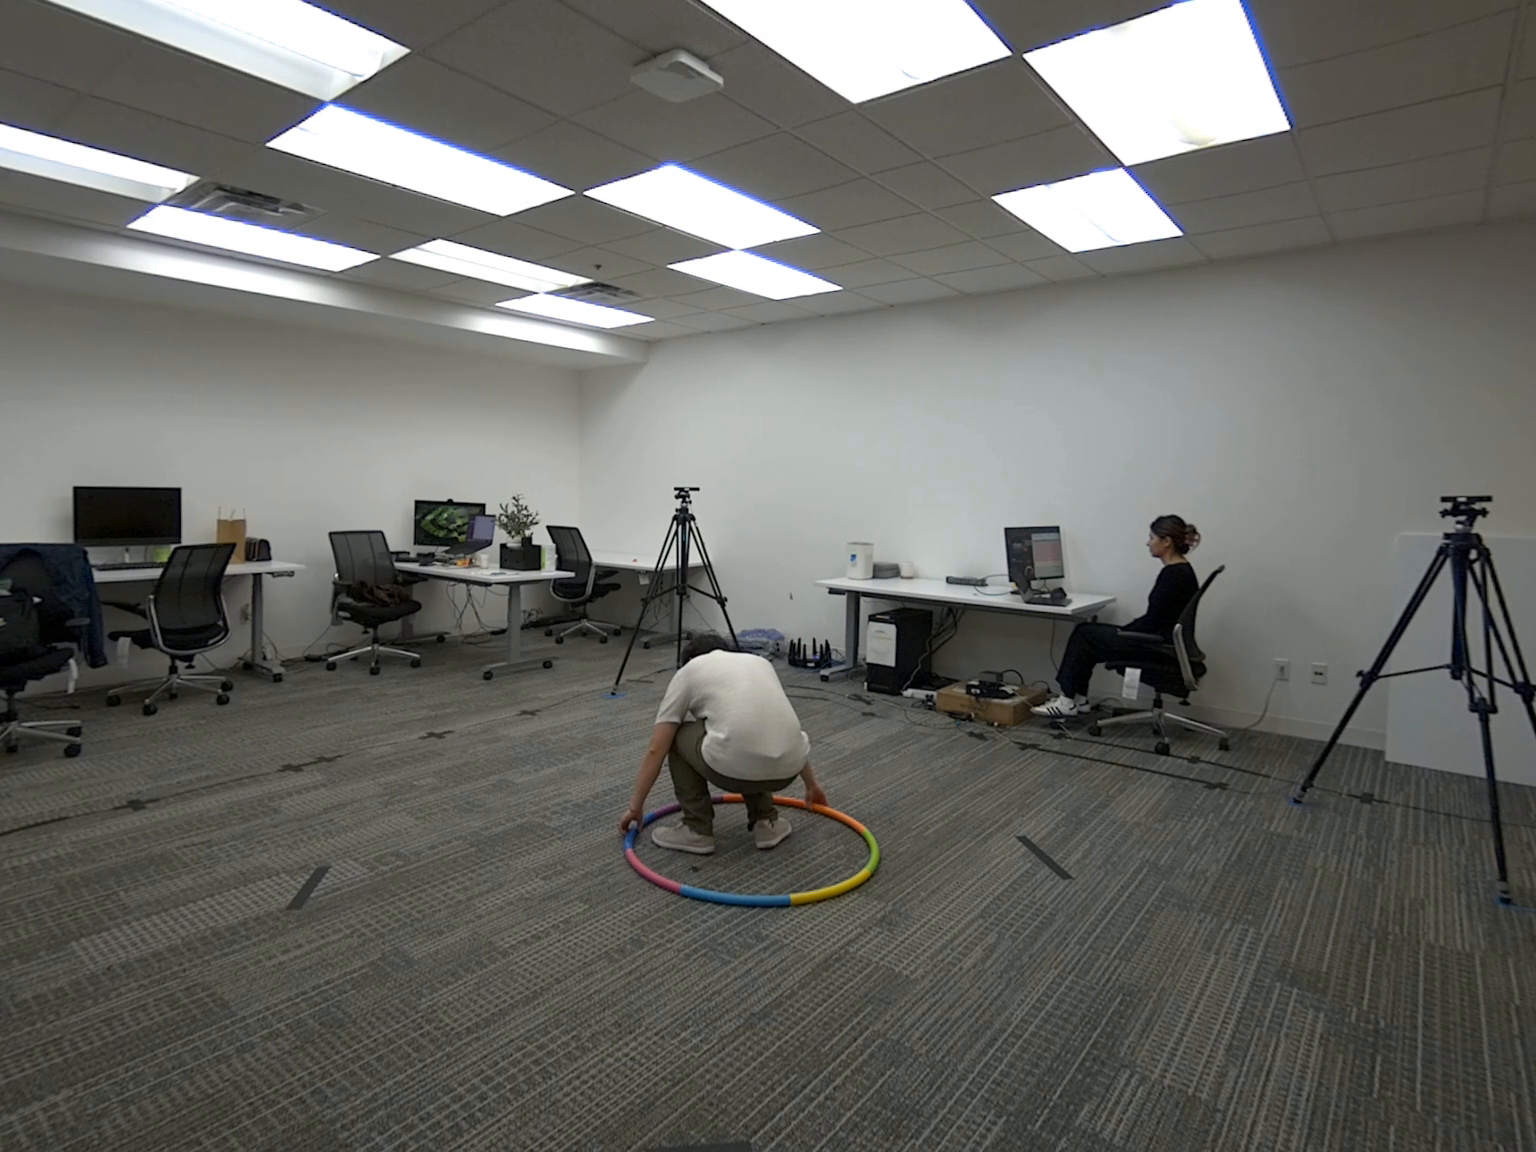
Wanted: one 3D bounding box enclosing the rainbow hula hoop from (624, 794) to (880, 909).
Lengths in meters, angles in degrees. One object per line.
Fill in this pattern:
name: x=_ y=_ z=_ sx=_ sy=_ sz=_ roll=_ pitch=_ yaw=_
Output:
rainbow hula hoop: x=-0.076 y=1.015 z=3.309 sx=0.978 sy=0.035 sz=0.984 roll=1 pitch=6 yaw=-2
